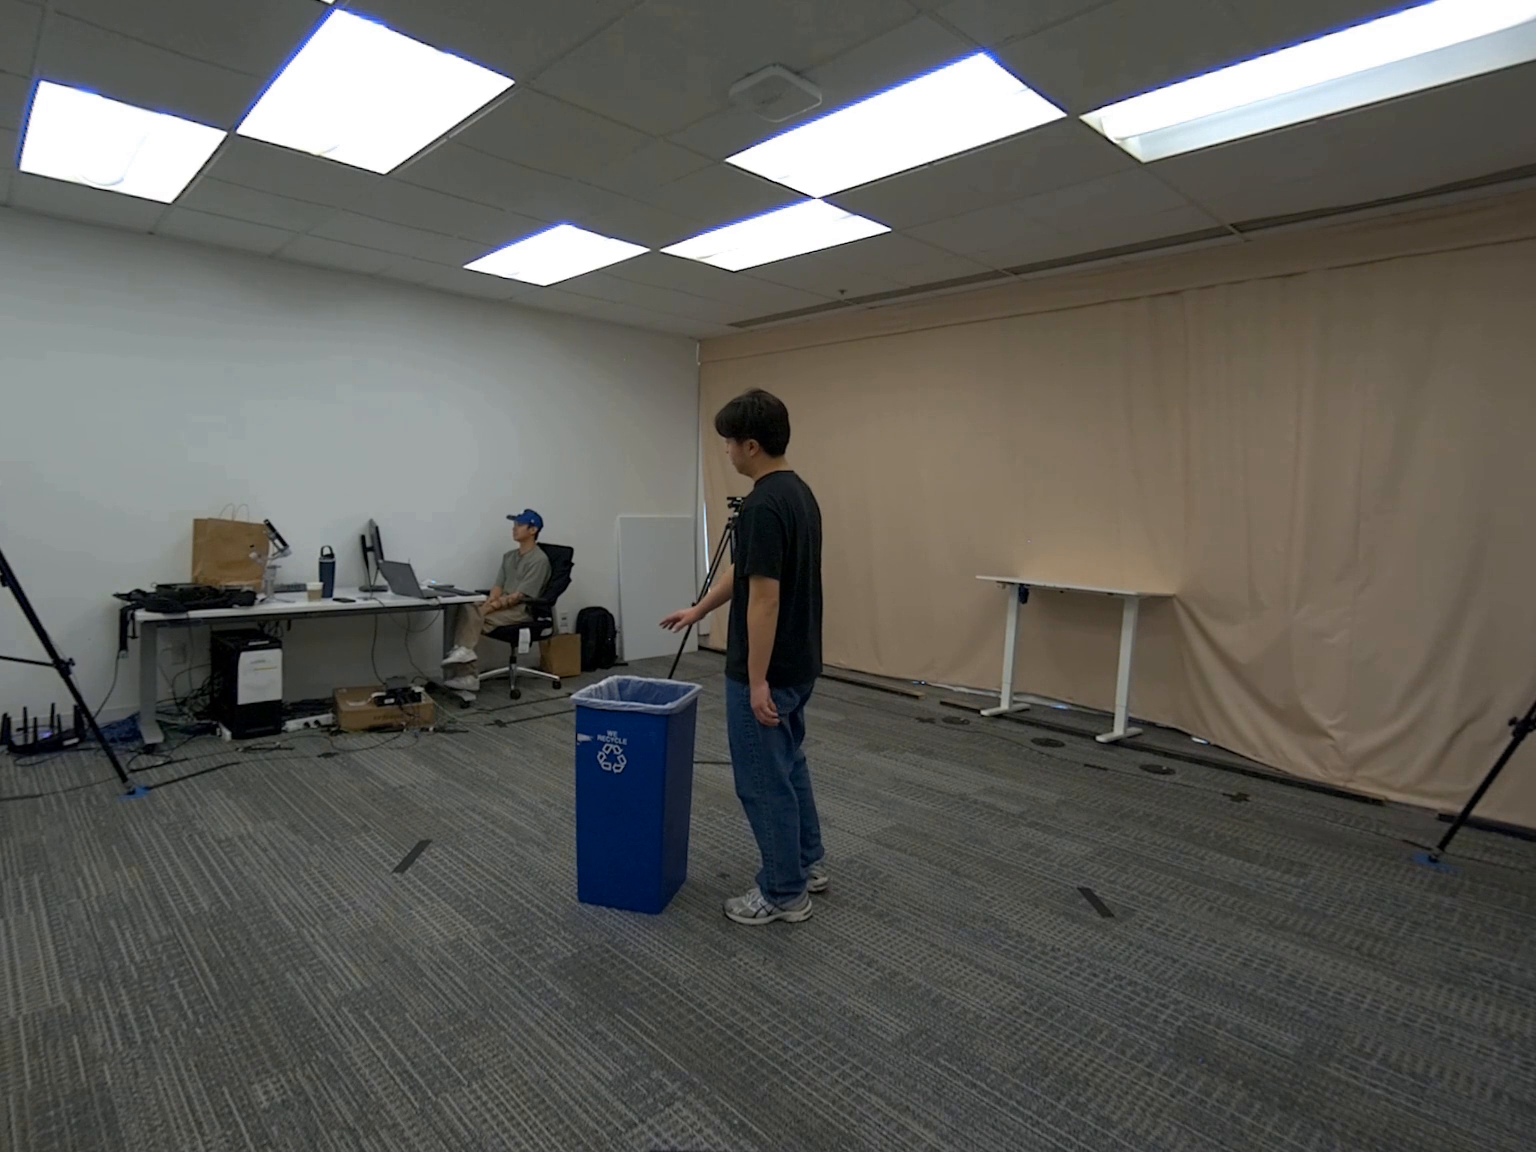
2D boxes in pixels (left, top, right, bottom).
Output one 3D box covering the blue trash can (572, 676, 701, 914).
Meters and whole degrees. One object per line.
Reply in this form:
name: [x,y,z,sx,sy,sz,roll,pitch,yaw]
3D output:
blue trash can: [-0.472,0.753,2.957,0.379,0.712,0.374,4,4,15]
